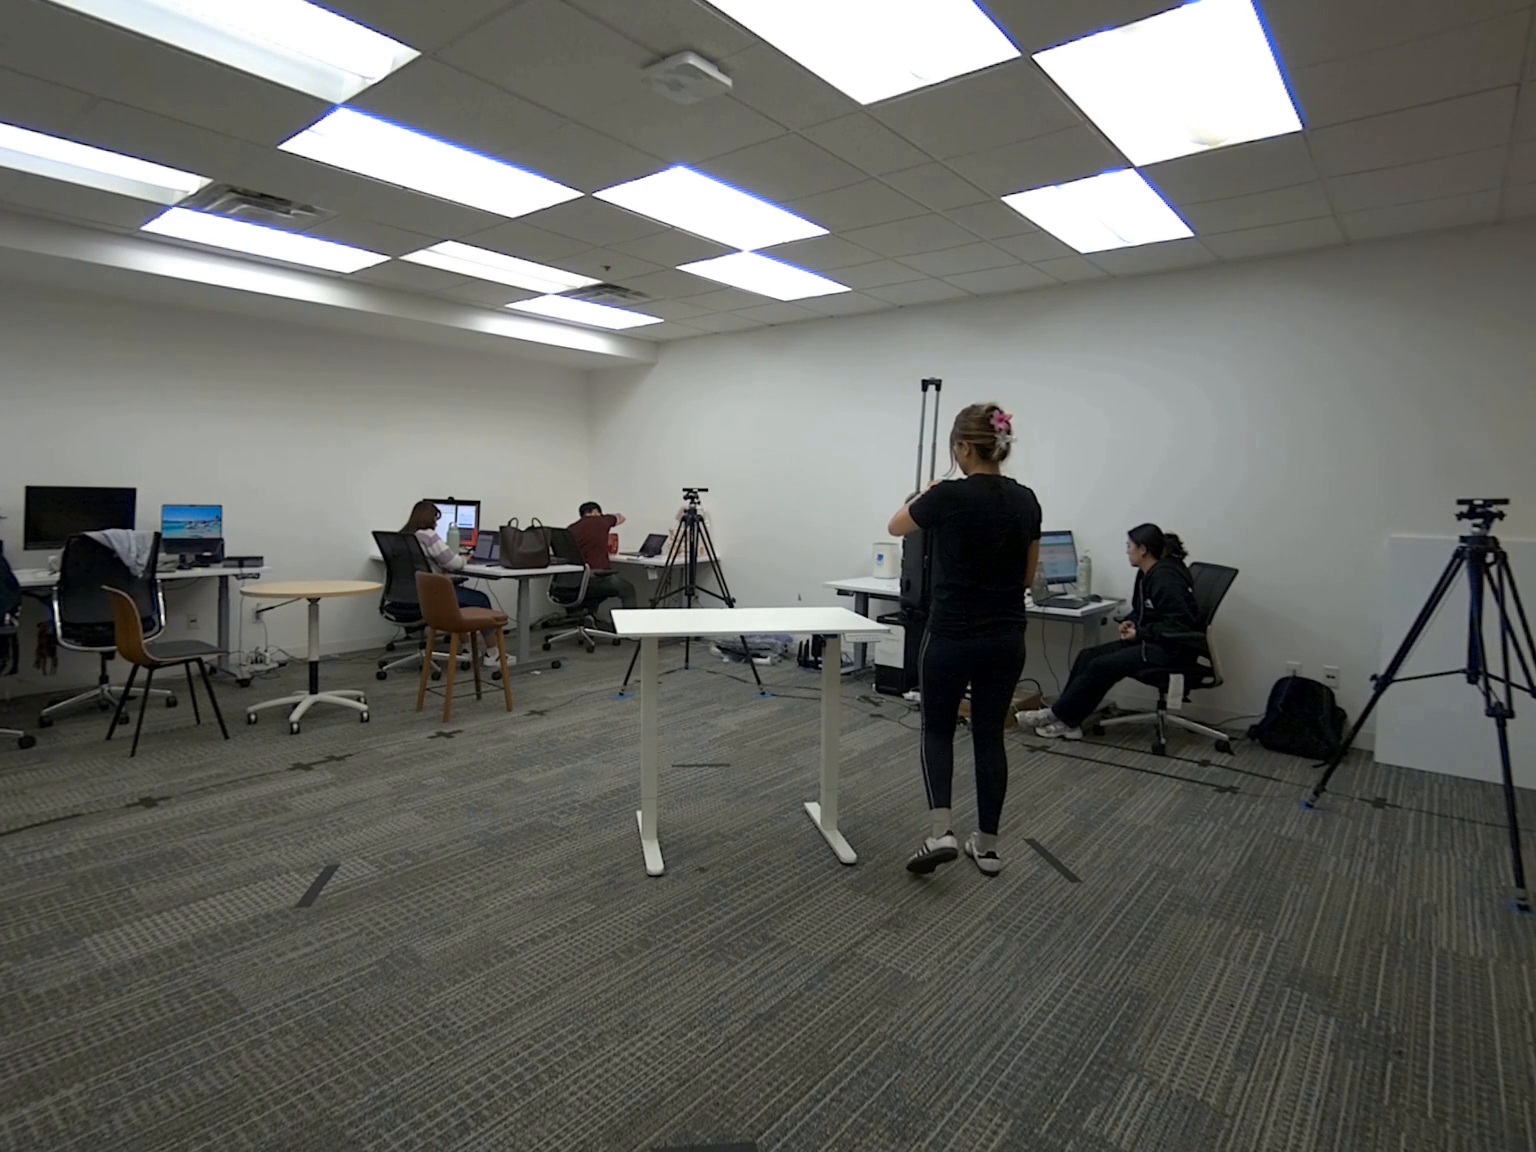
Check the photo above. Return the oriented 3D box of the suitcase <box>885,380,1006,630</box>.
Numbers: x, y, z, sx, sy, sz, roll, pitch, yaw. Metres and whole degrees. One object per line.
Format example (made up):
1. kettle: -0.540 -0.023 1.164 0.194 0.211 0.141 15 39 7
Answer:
1. suitcase: 0.726 -0.301 3.456 0.266 0.968 0.375 11 15 34
